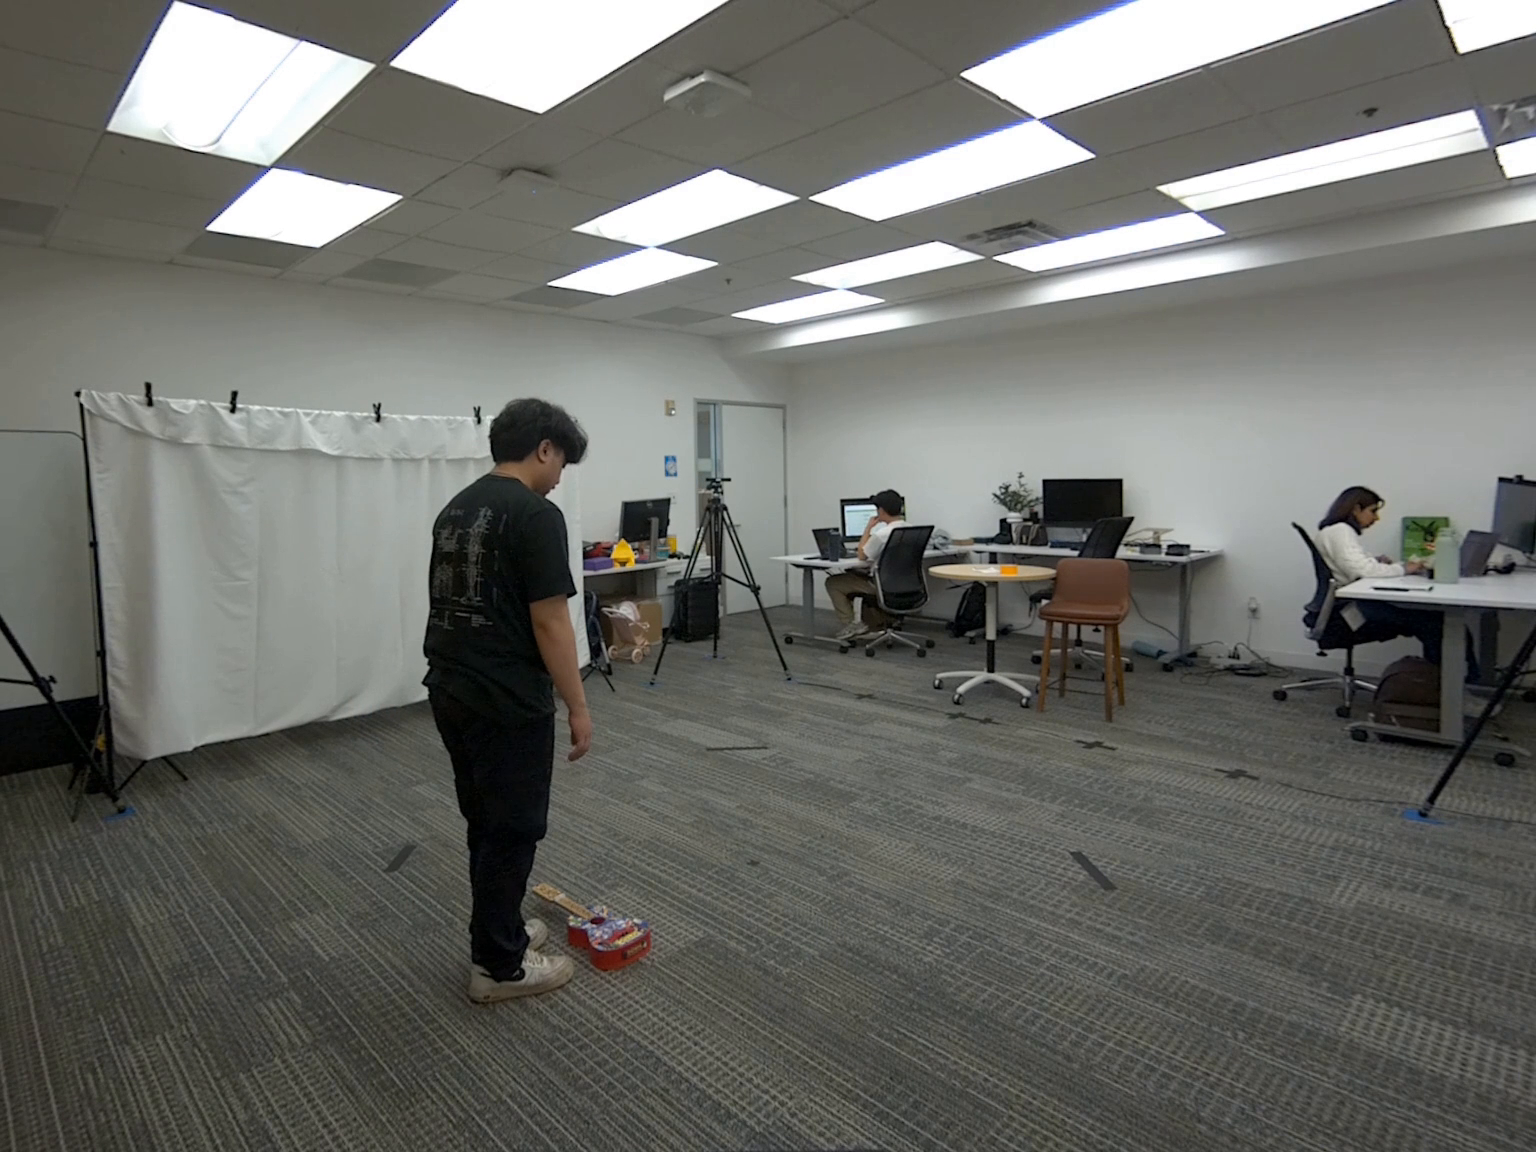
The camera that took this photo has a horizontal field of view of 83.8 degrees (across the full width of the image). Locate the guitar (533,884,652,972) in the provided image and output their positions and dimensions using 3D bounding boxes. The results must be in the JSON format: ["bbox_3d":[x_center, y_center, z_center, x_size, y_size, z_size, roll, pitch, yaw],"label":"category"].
[{"bbox_3d":[-0.550,1.071,2.673,0.188,0.070,0.513,-7,10,-38],"label":"guitar"}]
